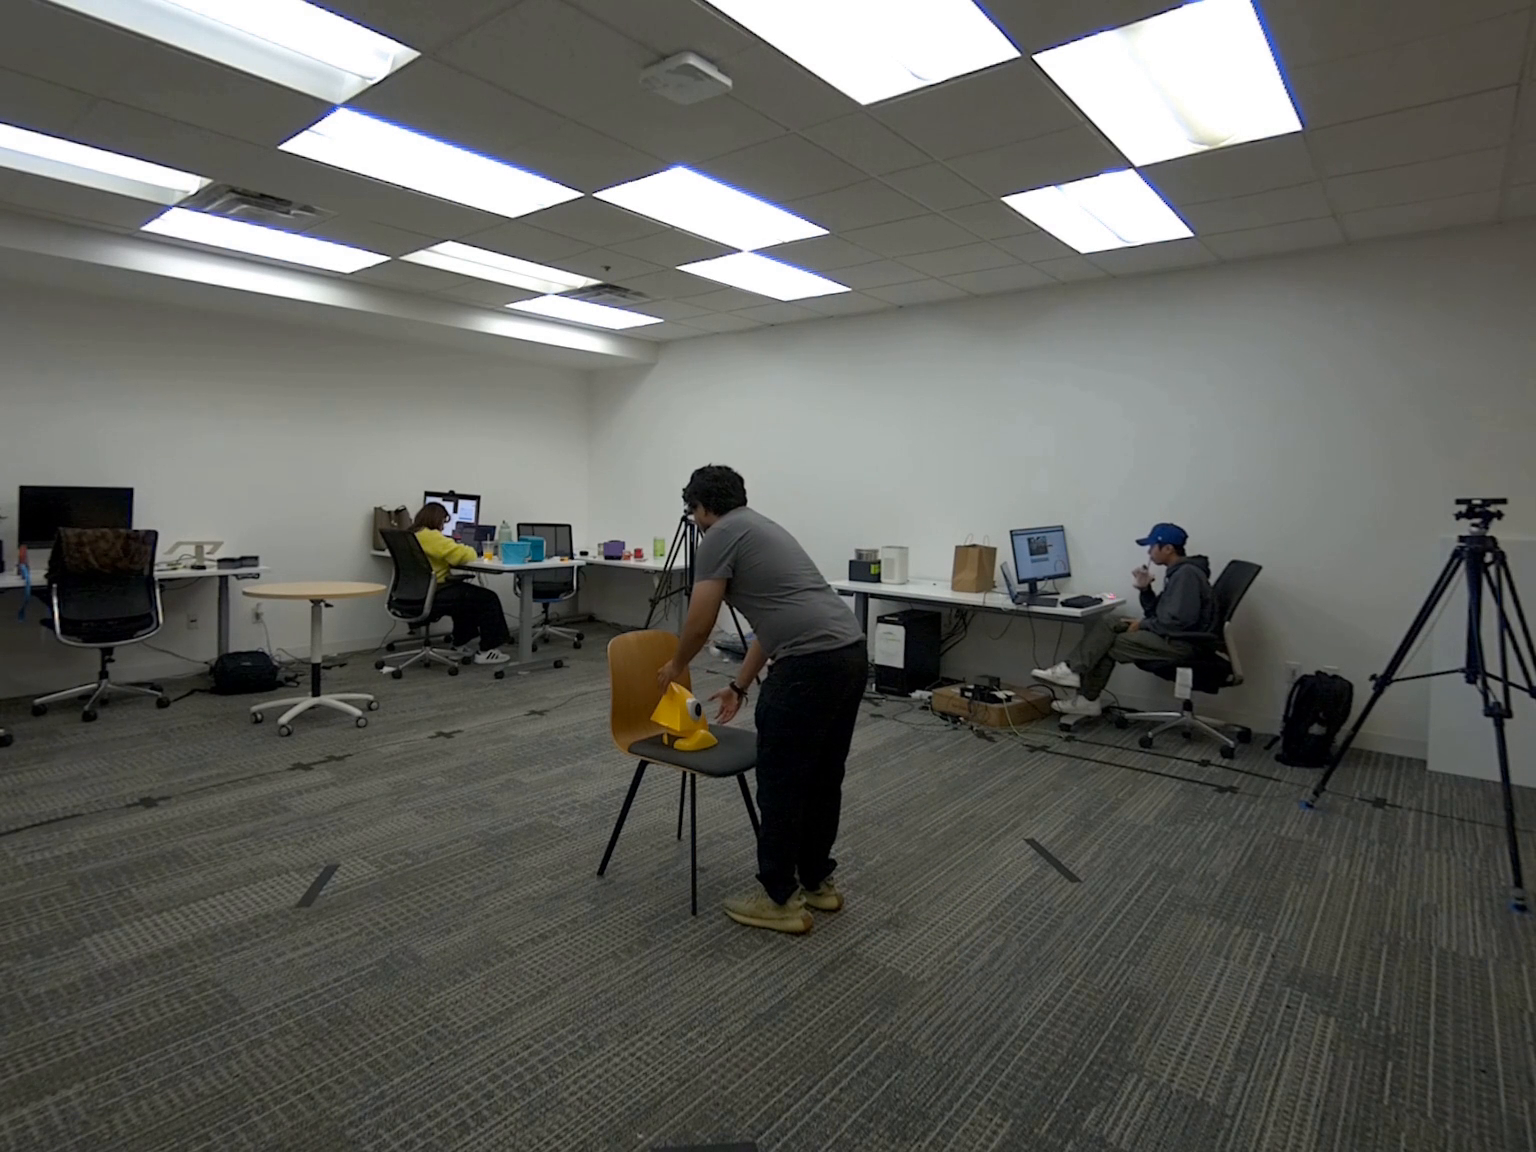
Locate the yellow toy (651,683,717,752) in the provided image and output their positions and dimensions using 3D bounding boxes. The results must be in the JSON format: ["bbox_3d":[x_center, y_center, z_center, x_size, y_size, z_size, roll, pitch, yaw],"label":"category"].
[{"bbox_3d":[-0.307,0.481,3.071,0.187,0.230,0.211,-3,3,-36],"label":"yellow toy"}]
